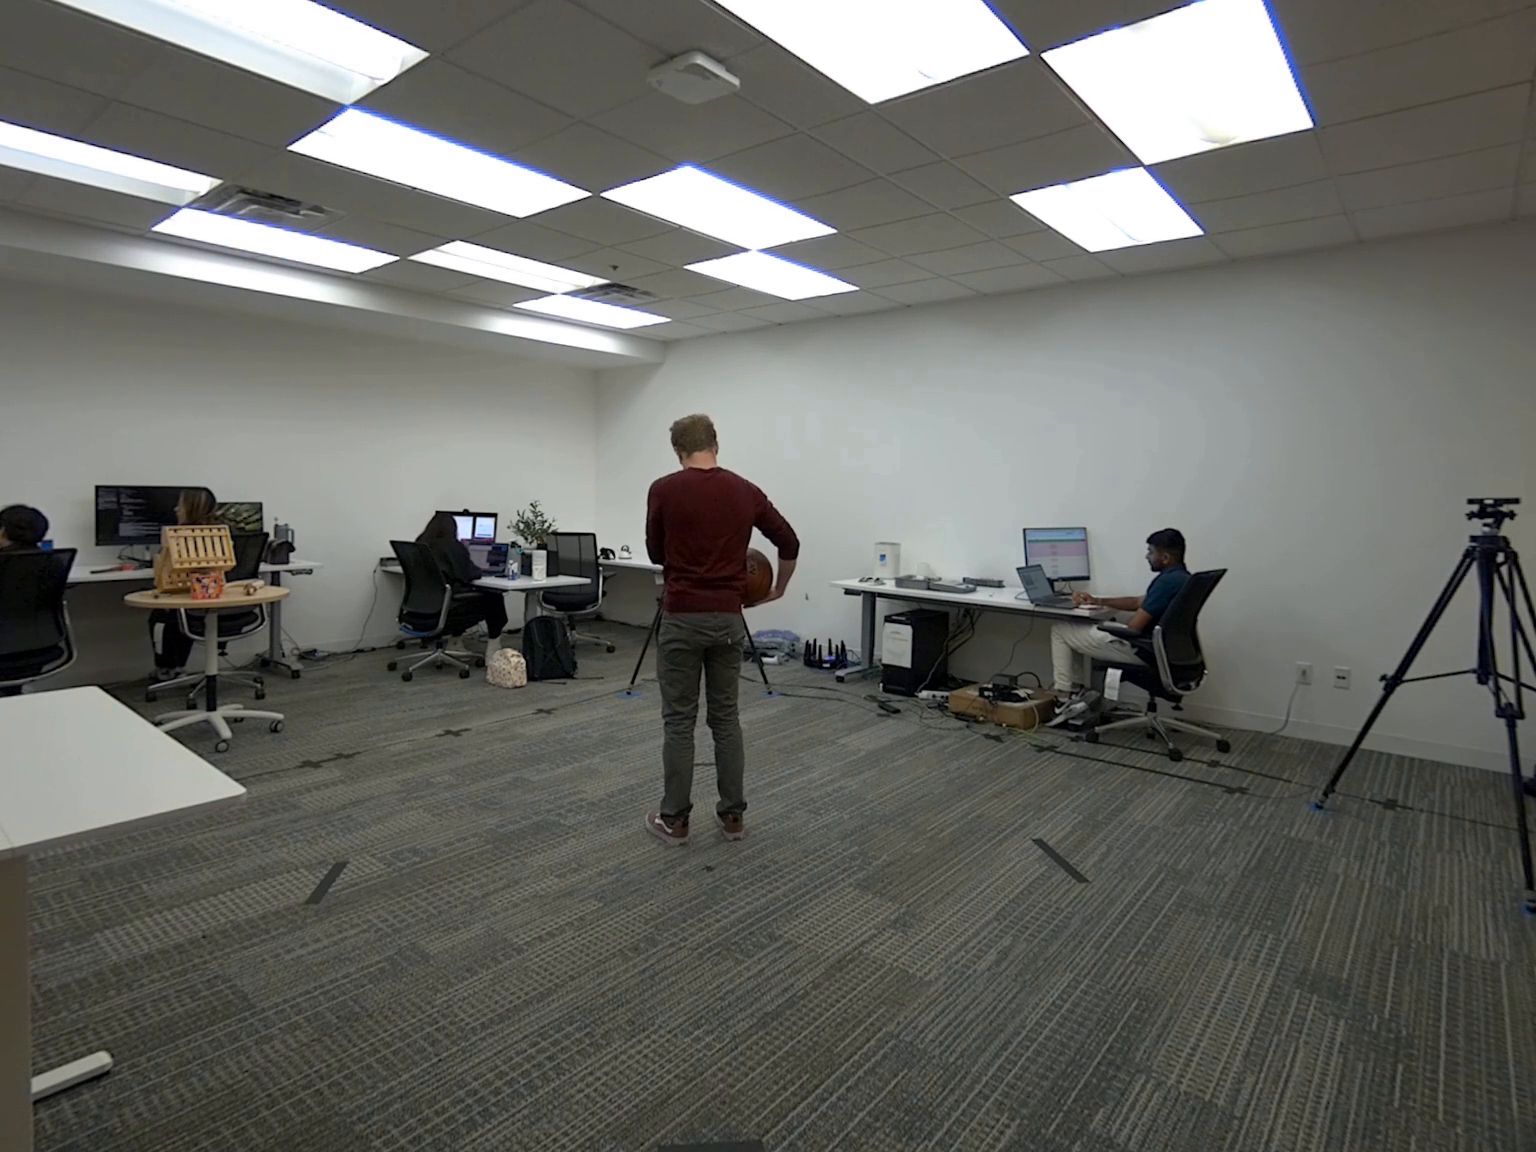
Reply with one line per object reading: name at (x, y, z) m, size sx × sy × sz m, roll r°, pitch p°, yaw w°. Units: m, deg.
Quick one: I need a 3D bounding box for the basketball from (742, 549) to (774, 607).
basketball at (-0.110, -0.003, 3.570) m, size 0.235 × 0.235 × 0.237 m, roll 1°, pitch 4°, yaw -2°
